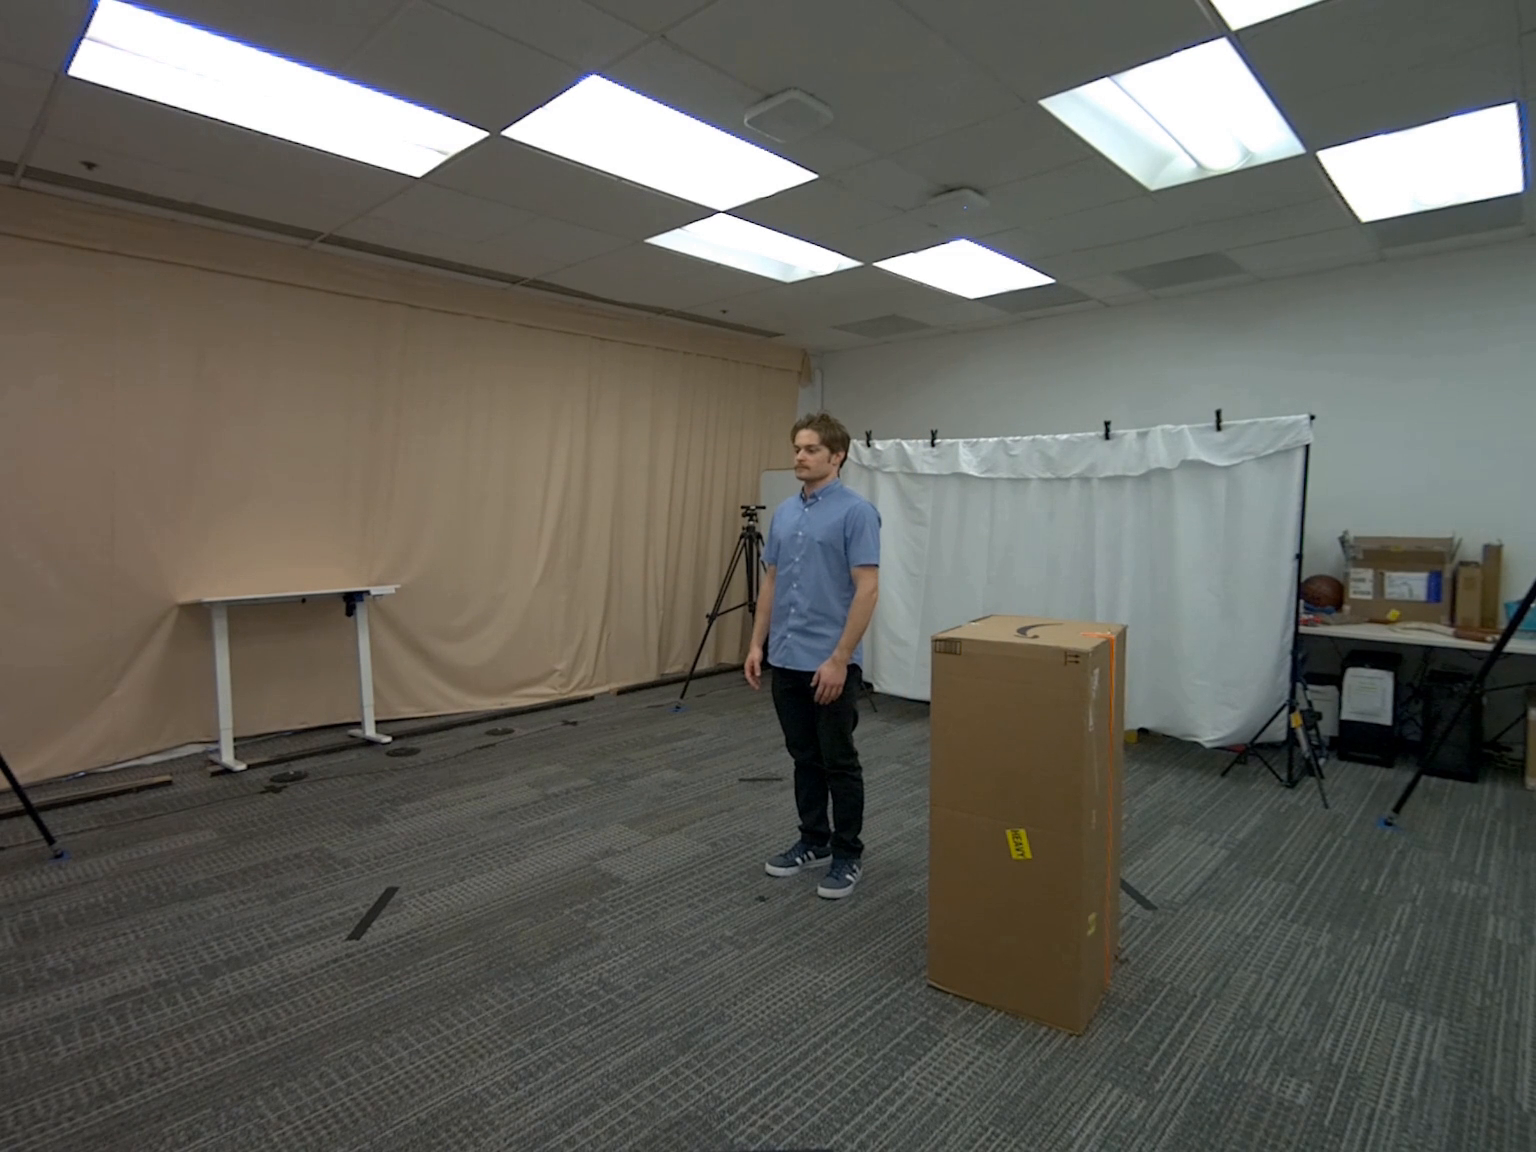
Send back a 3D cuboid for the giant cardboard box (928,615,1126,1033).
[{"bbox_3d":[0.800,0.671,2.525,0.439,1.024,0.561,2,3,34],"label":"giant cardboard box"}]
